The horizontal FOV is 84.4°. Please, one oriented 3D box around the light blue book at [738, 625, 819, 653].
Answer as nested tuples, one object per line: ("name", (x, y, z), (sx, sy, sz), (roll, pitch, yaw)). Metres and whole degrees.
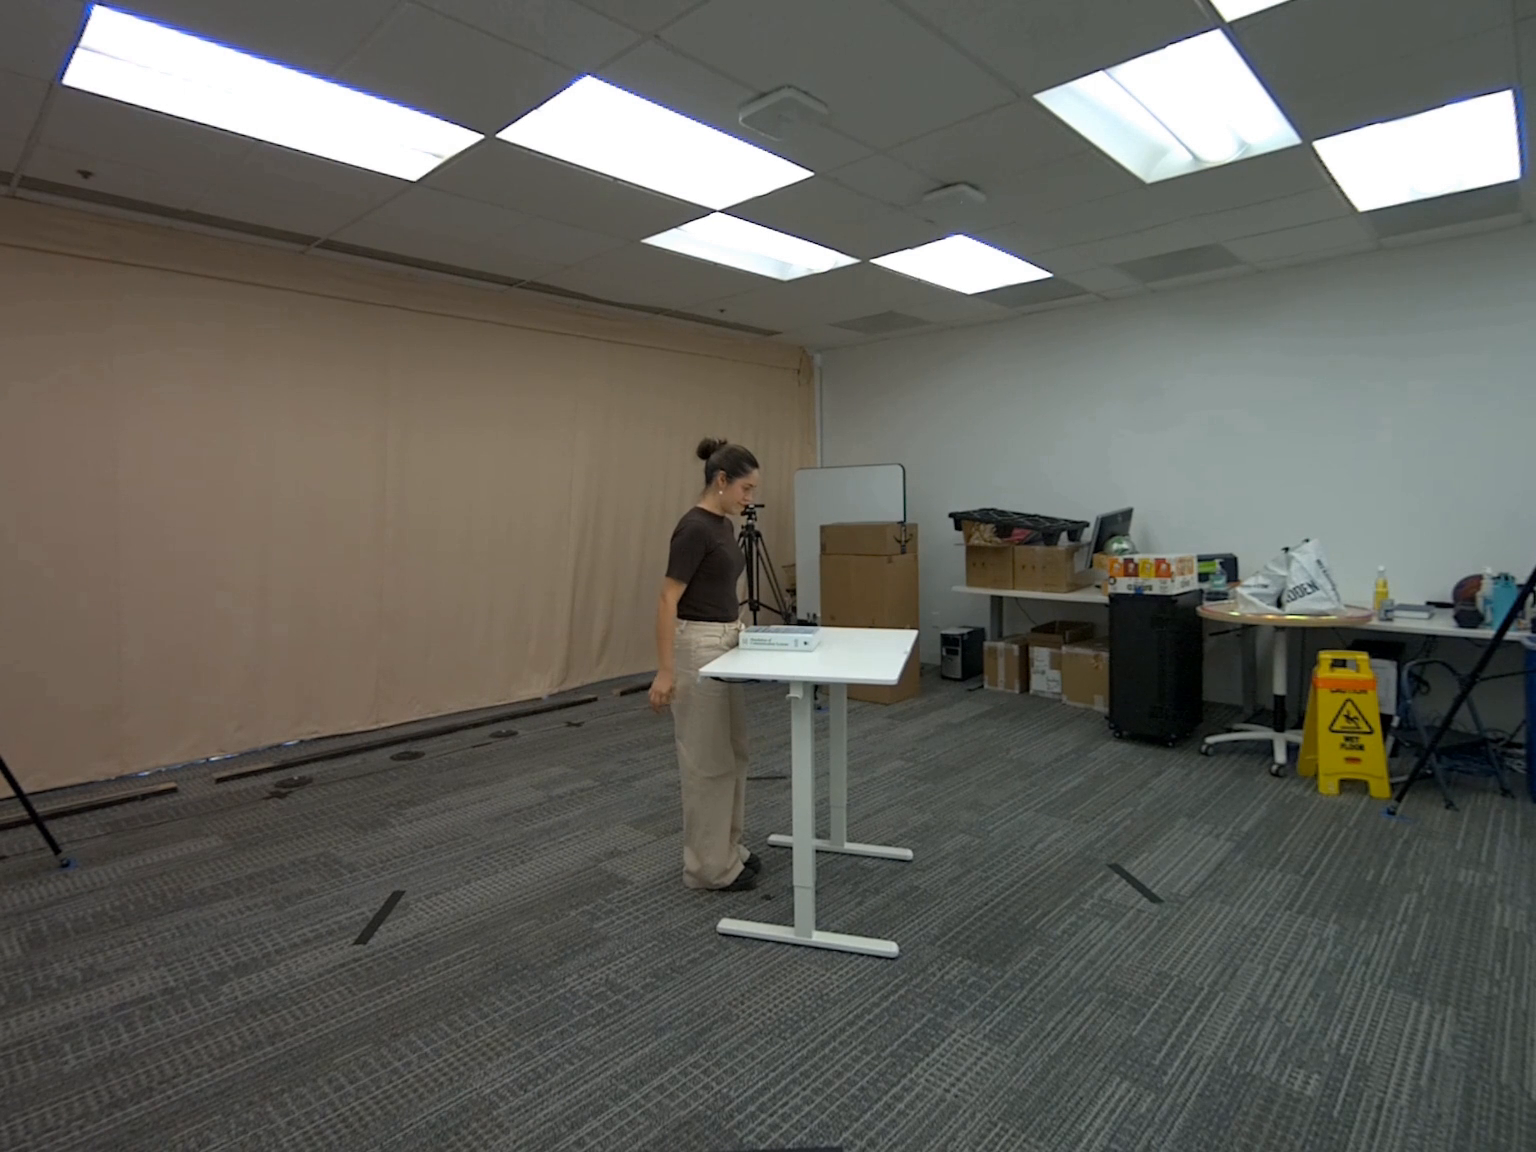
("light blue book", (0.047, 0.226, 3.012), (0.265, 0.059, 0.189), (0, 4, 13))
